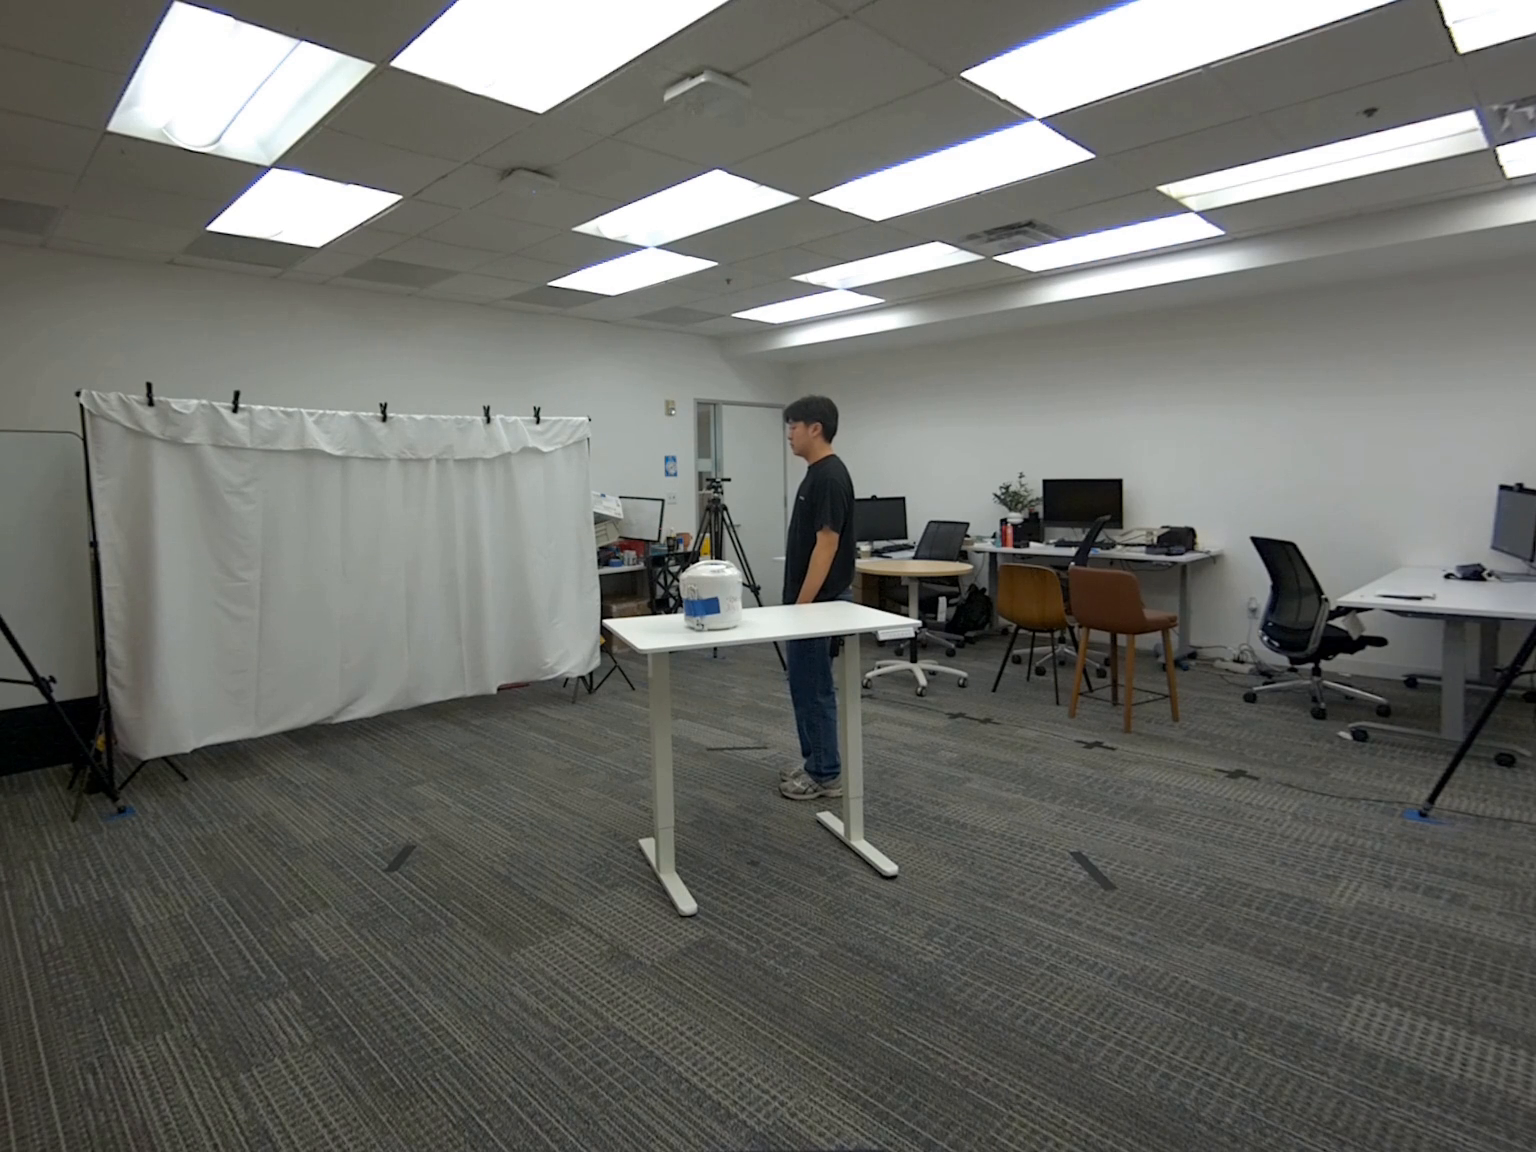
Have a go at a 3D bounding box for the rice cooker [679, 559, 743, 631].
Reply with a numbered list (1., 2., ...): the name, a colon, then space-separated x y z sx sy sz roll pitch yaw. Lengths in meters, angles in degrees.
1. rice cooker: -0.192 0.060 2.979 0.217 0.232 0.222 -2 5 -18
